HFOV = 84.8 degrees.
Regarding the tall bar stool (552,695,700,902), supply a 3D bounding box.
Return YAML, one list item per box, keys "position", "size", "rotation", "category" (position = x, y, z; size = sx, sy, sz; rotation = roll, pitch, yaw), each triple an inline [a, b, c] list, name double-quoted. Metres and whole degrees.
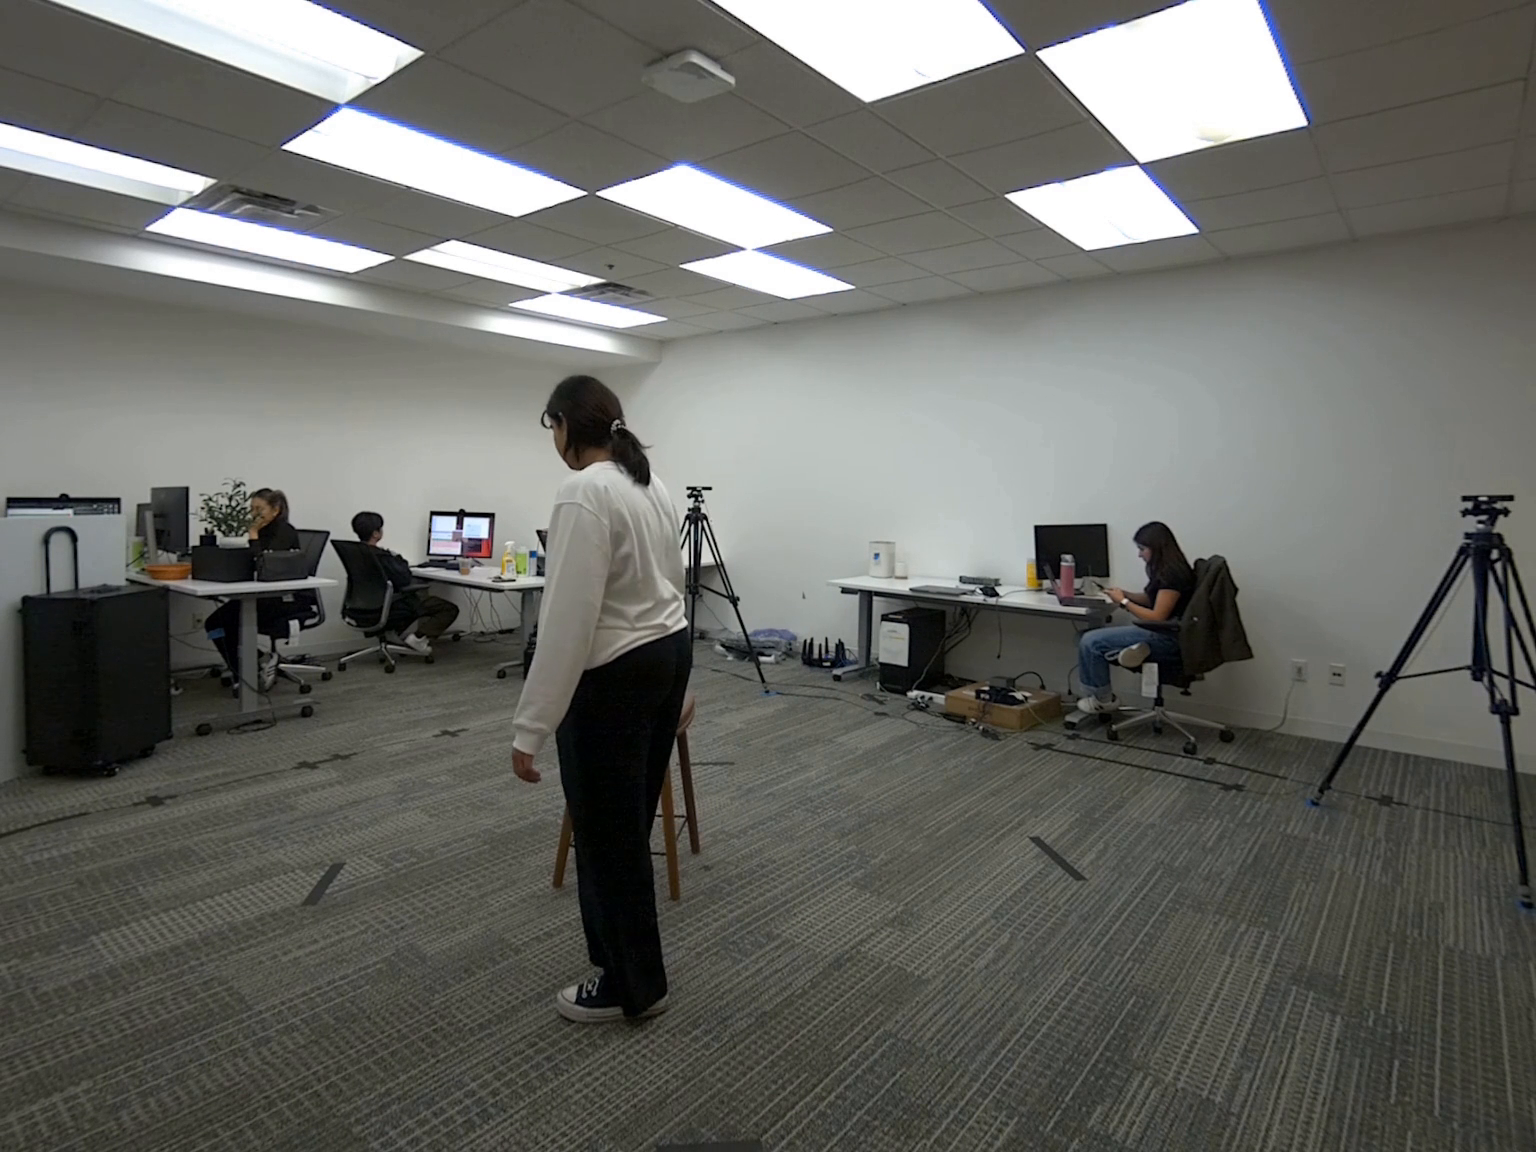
- position: [-0.499, 0.632, 3.063]
  size: [0.472, 0.887, 0.453]
  rotation: [0, 3, 9]
  category: "tall bar stool"
